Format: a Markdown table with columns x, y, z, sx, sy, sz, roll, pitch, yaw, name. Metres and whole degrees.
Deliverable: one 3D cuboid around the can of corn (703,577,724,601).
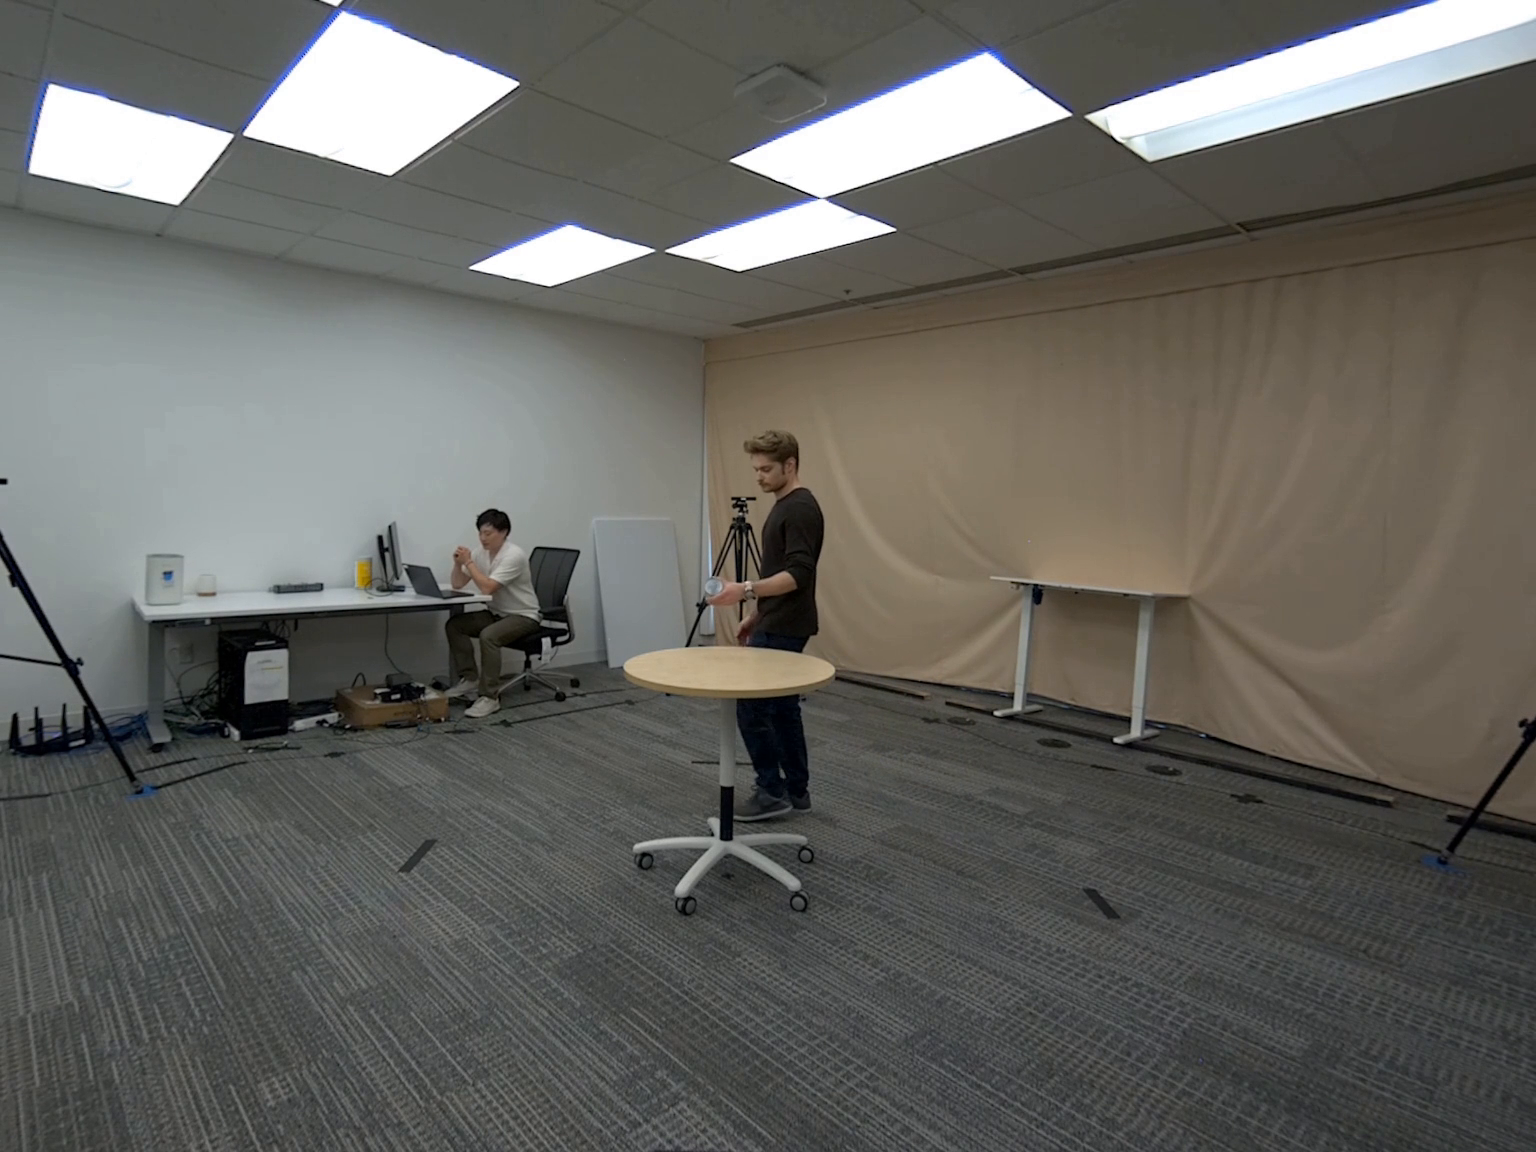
| x | y | z | sx | sy | sz | roll | pitch | yaw | name |
| --- | --- | --- | --- | --- | --- | --- | --- | --- | --- |
| -0.223 | 0.062 | 3.367 | 0.074 | 0.075 | 0.109 | 2 | -22 | 1 | can of corn |
